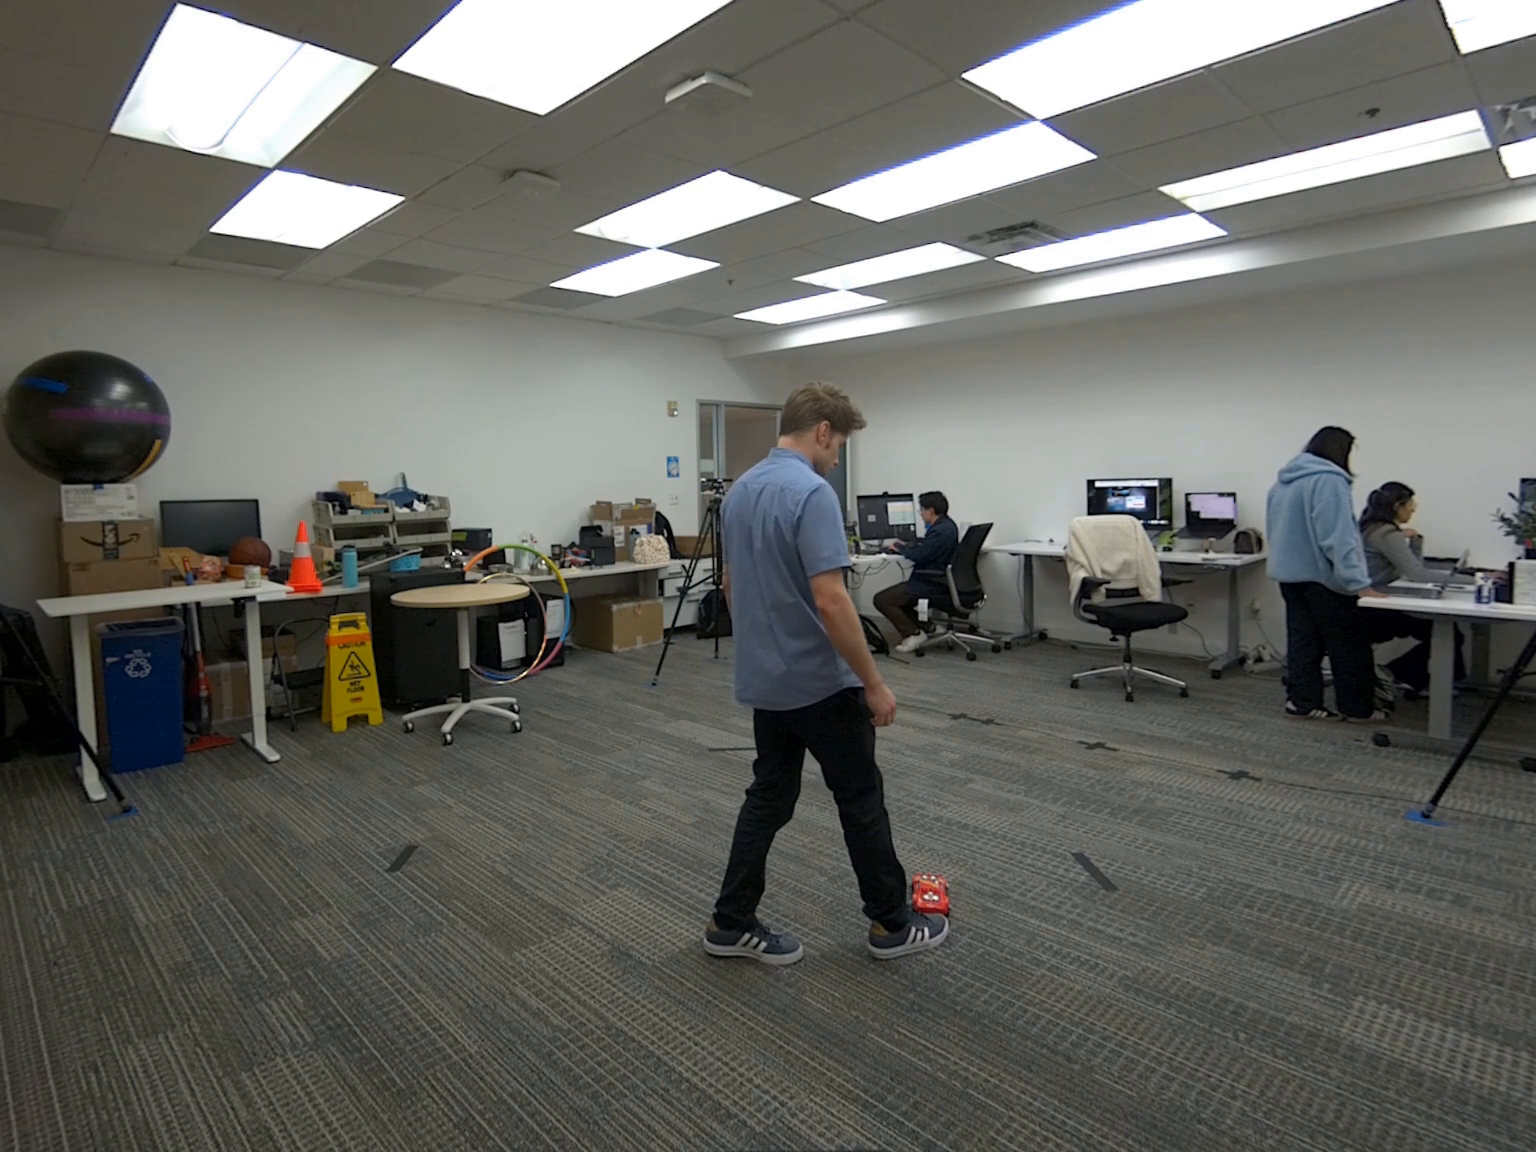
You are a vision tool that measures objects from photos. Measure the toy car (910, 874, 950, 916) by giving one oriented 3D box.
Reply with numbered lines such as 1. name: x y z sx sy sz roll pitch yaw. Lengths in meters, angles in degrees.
1. toy car: 0.531 1.043 2.774 0.132 0.083 0.250 1 -4 10
